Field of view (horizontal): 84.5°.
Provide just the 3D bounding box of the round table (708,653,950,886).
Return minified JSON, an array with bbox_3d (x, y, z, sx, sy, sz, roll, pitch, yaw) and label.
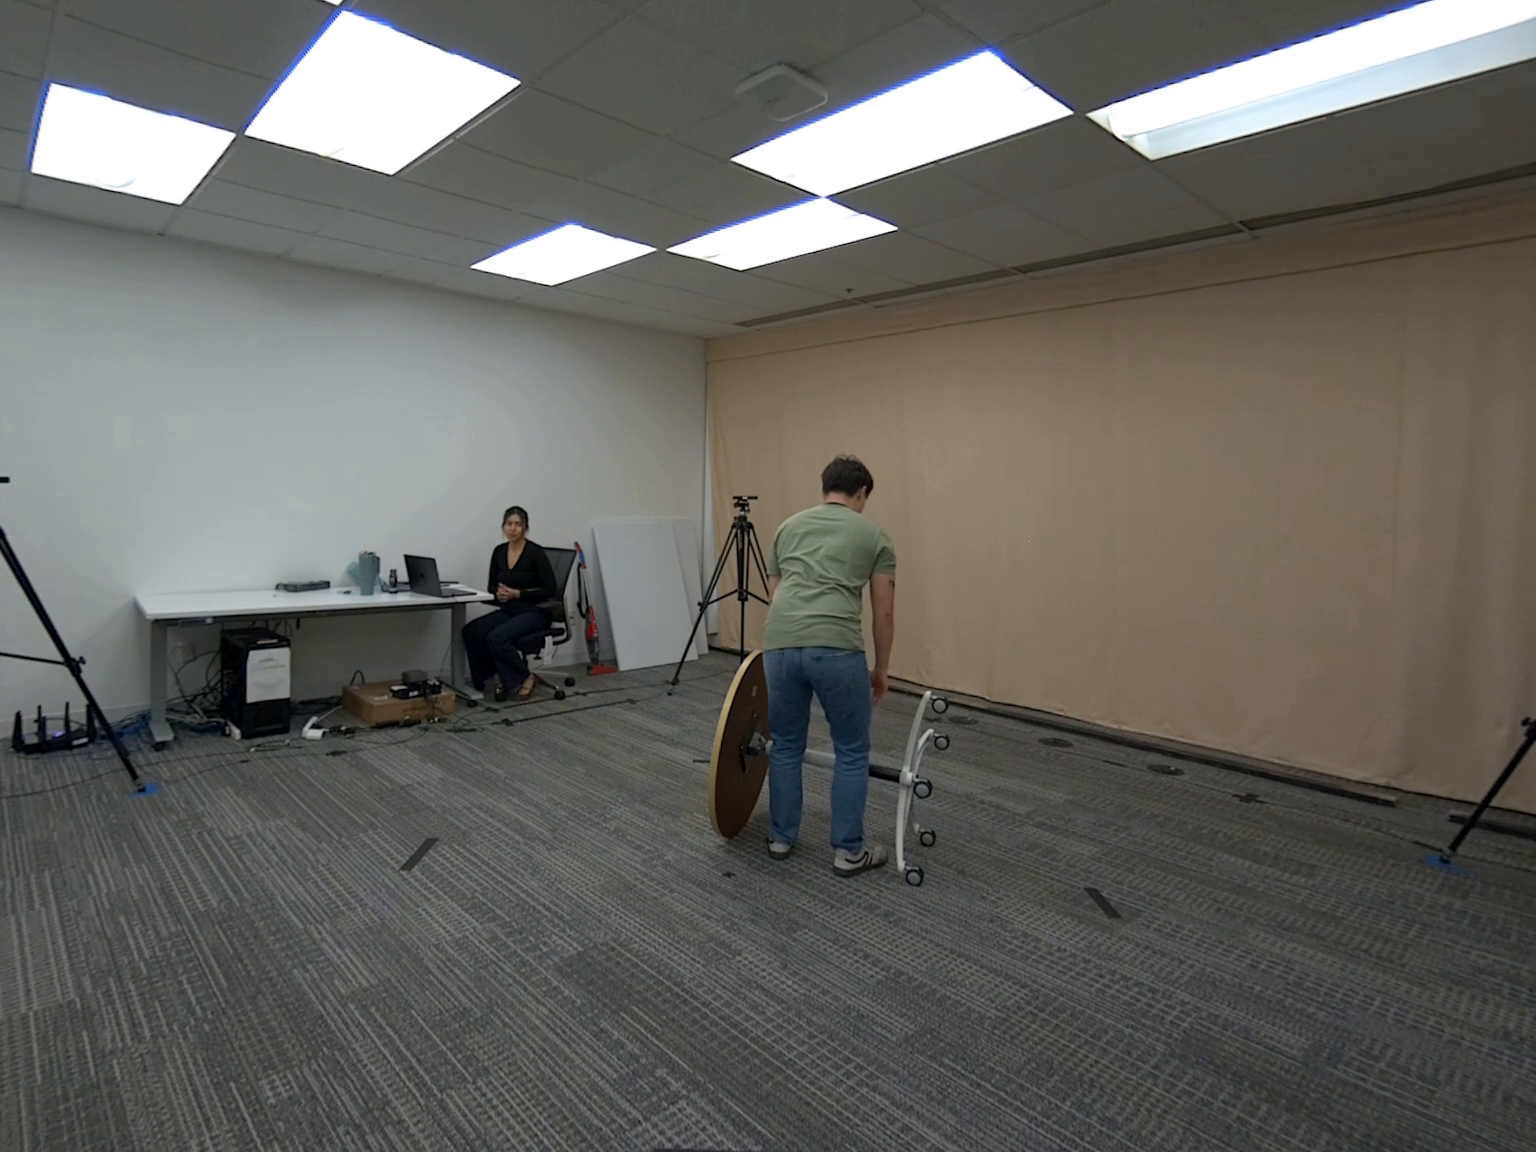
[{"bbox_3d":[0.275,0.744,3.358,0.807,0.761,0.755,9,6,17],"label":"round table"}]
